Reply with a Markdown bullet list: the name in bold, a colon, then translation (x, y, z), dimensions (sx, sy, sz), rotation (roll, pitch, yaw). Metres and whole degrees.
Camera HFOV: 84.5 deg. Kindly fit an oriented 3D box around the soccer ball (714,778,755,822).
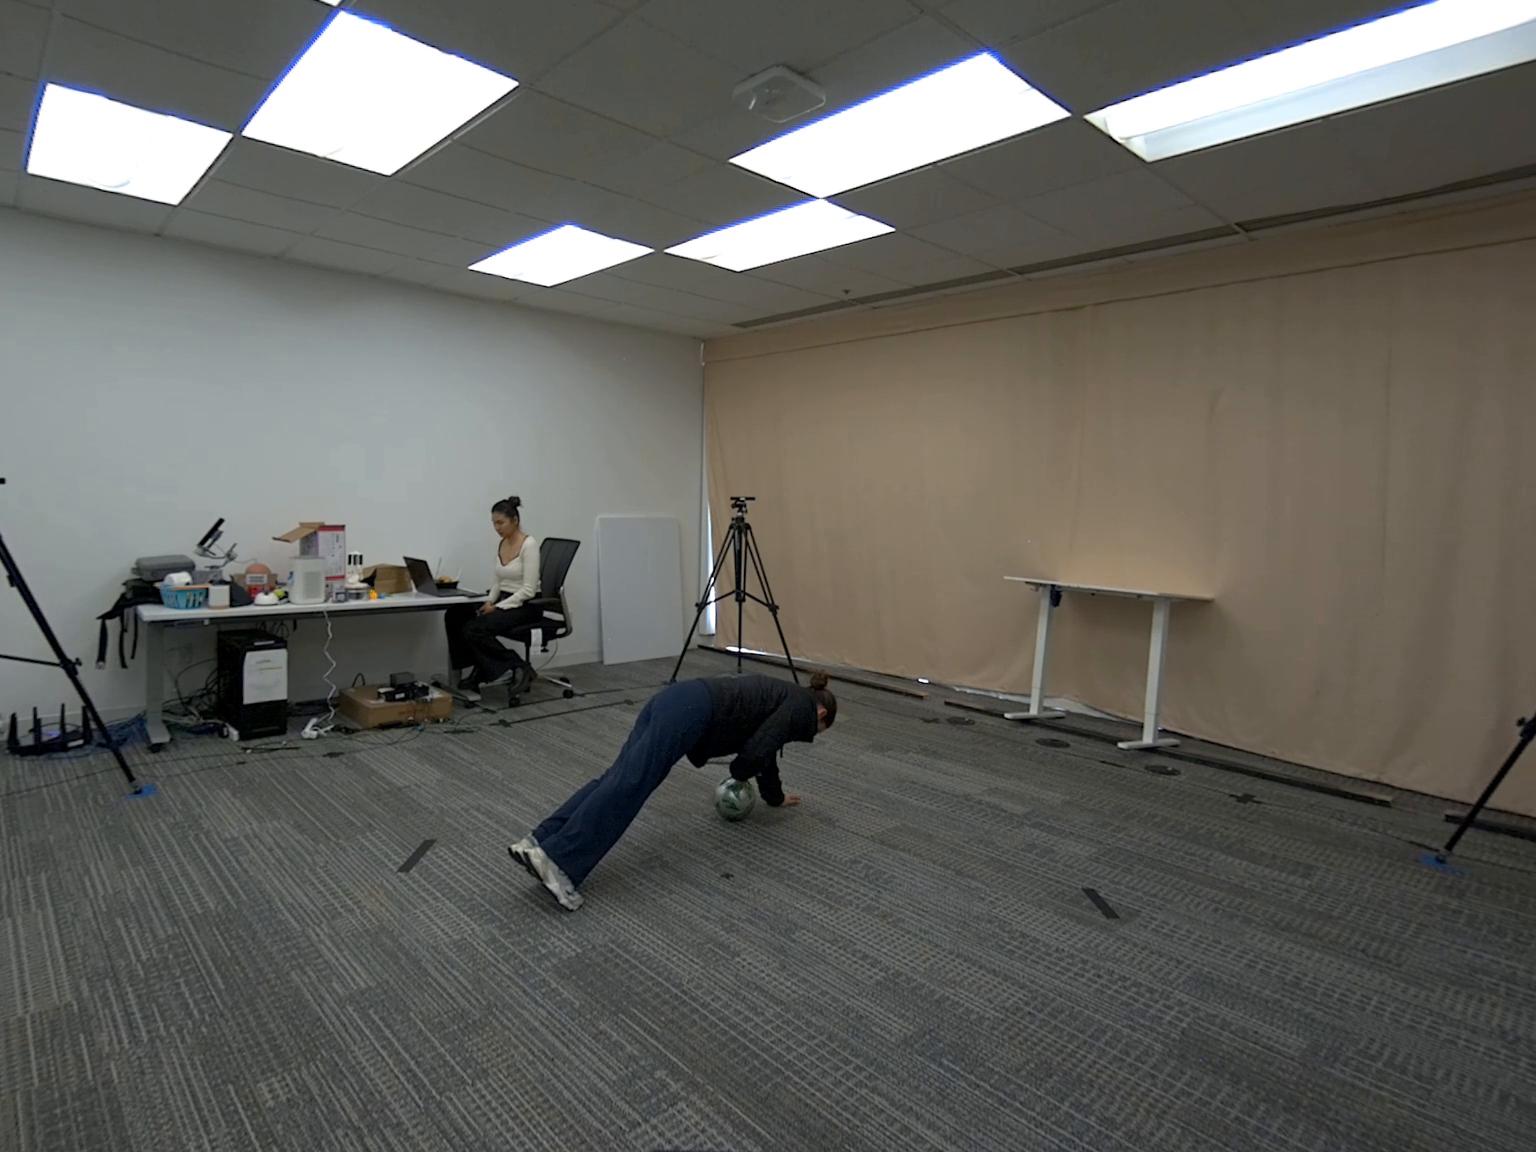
- **soccer ball**: translation (-0.156, 0.968, 3.661), dimensions (0.187, 0.187, 0.188), rotation (1, 4, -1)
